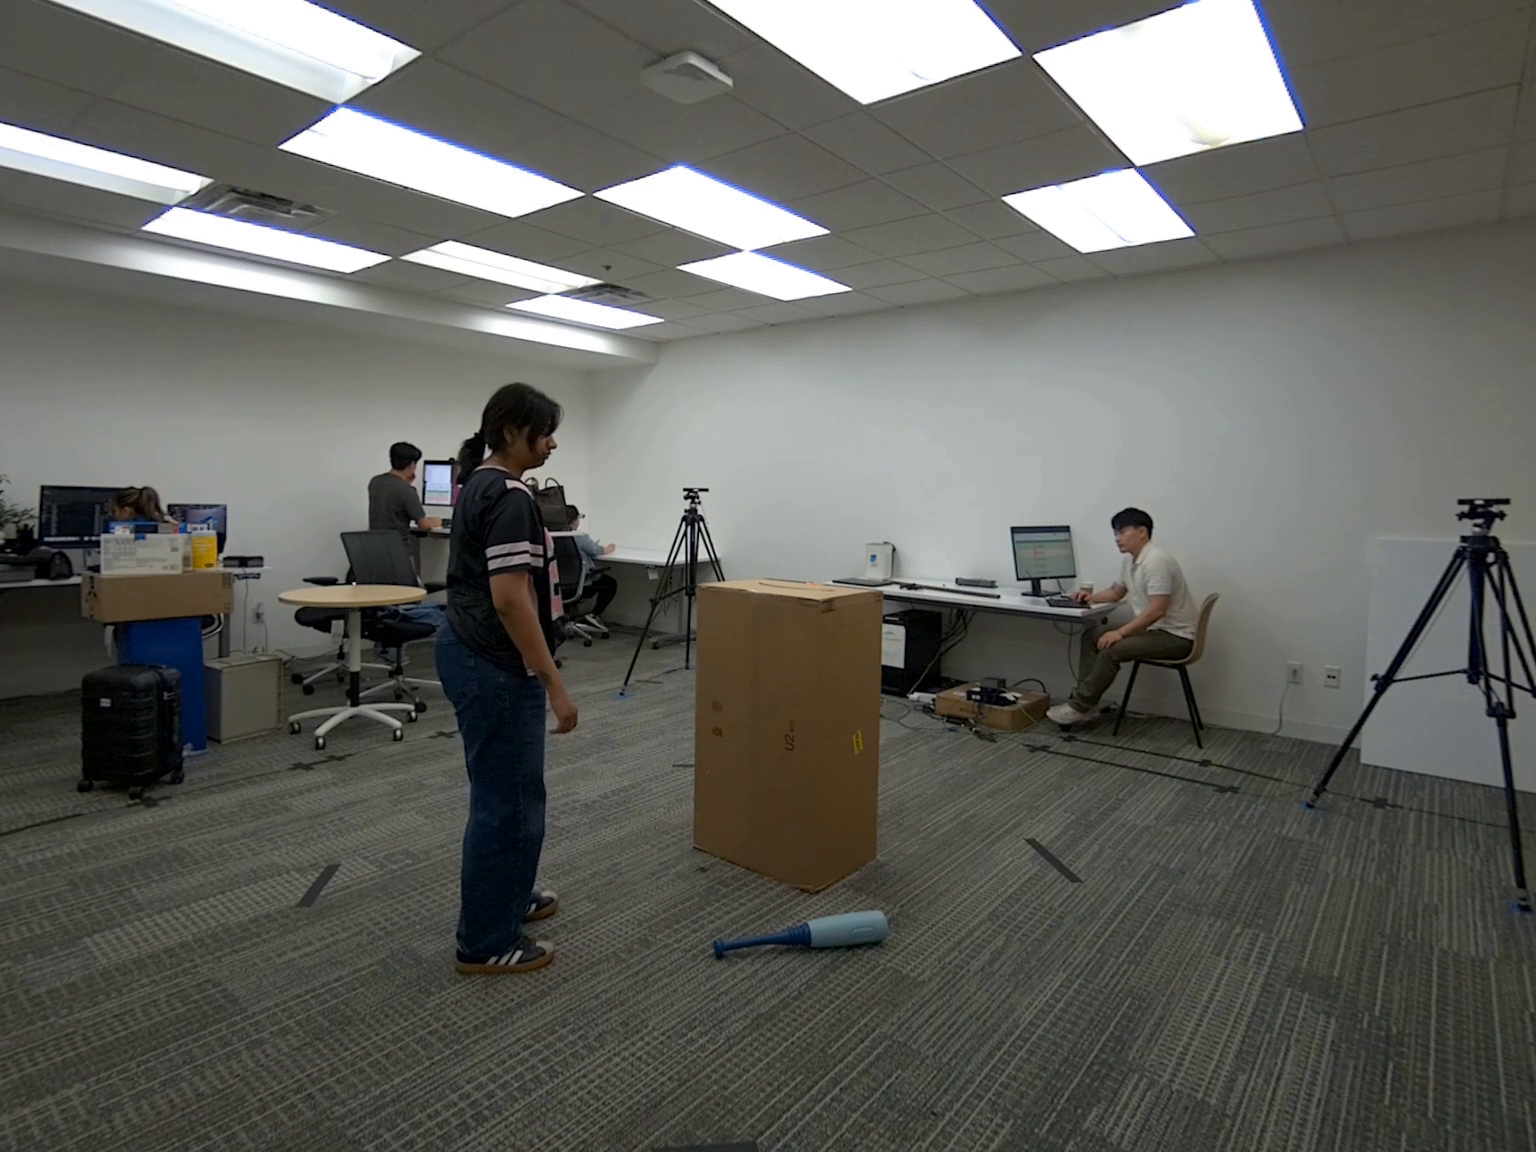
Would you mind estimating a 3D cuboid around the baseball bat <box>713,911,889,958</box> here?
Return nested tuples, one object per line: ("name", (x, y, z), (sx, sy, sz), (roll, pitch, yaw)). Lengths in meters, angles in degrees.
("baseball bat", (0.097, 1.093, 2.583), (0.536, 0.089, 0.090), (-2, 5, -12))
